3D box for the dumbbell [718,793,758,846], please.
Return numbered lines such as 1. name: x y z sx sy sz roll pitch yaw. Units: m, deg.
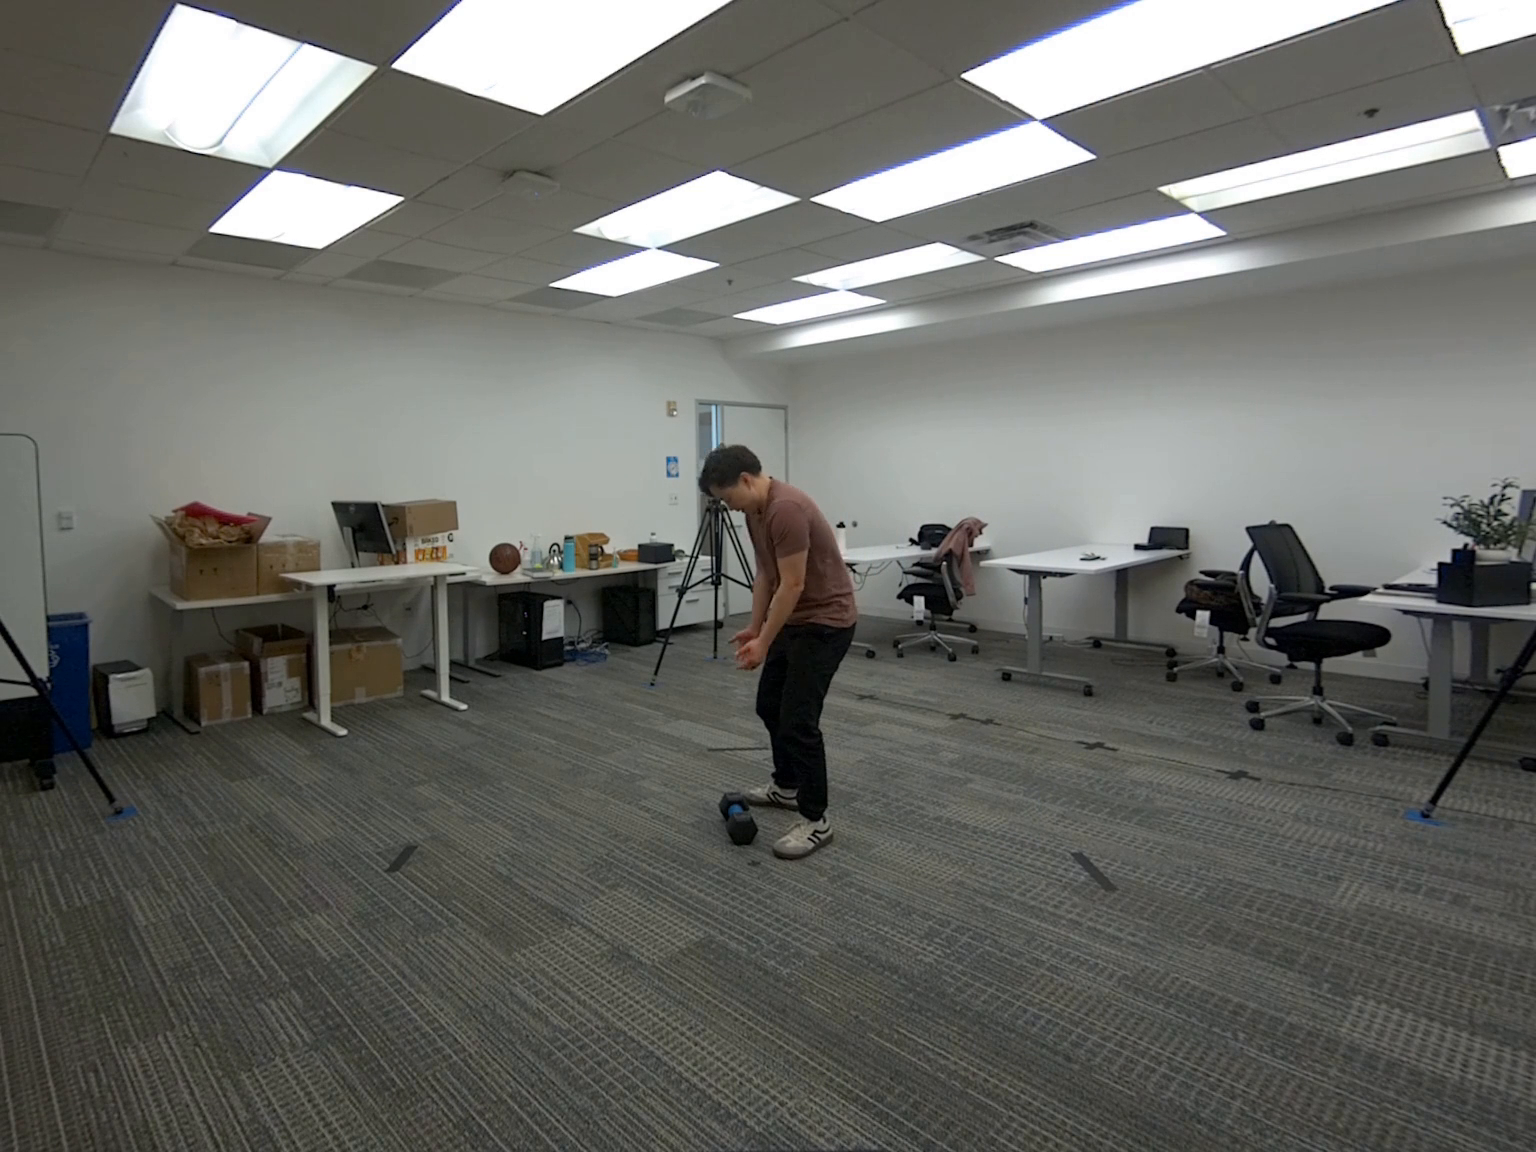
1. dumbbell: -0.122 0.961 3.396 0.107 0.123 0.297 29 2 -11
